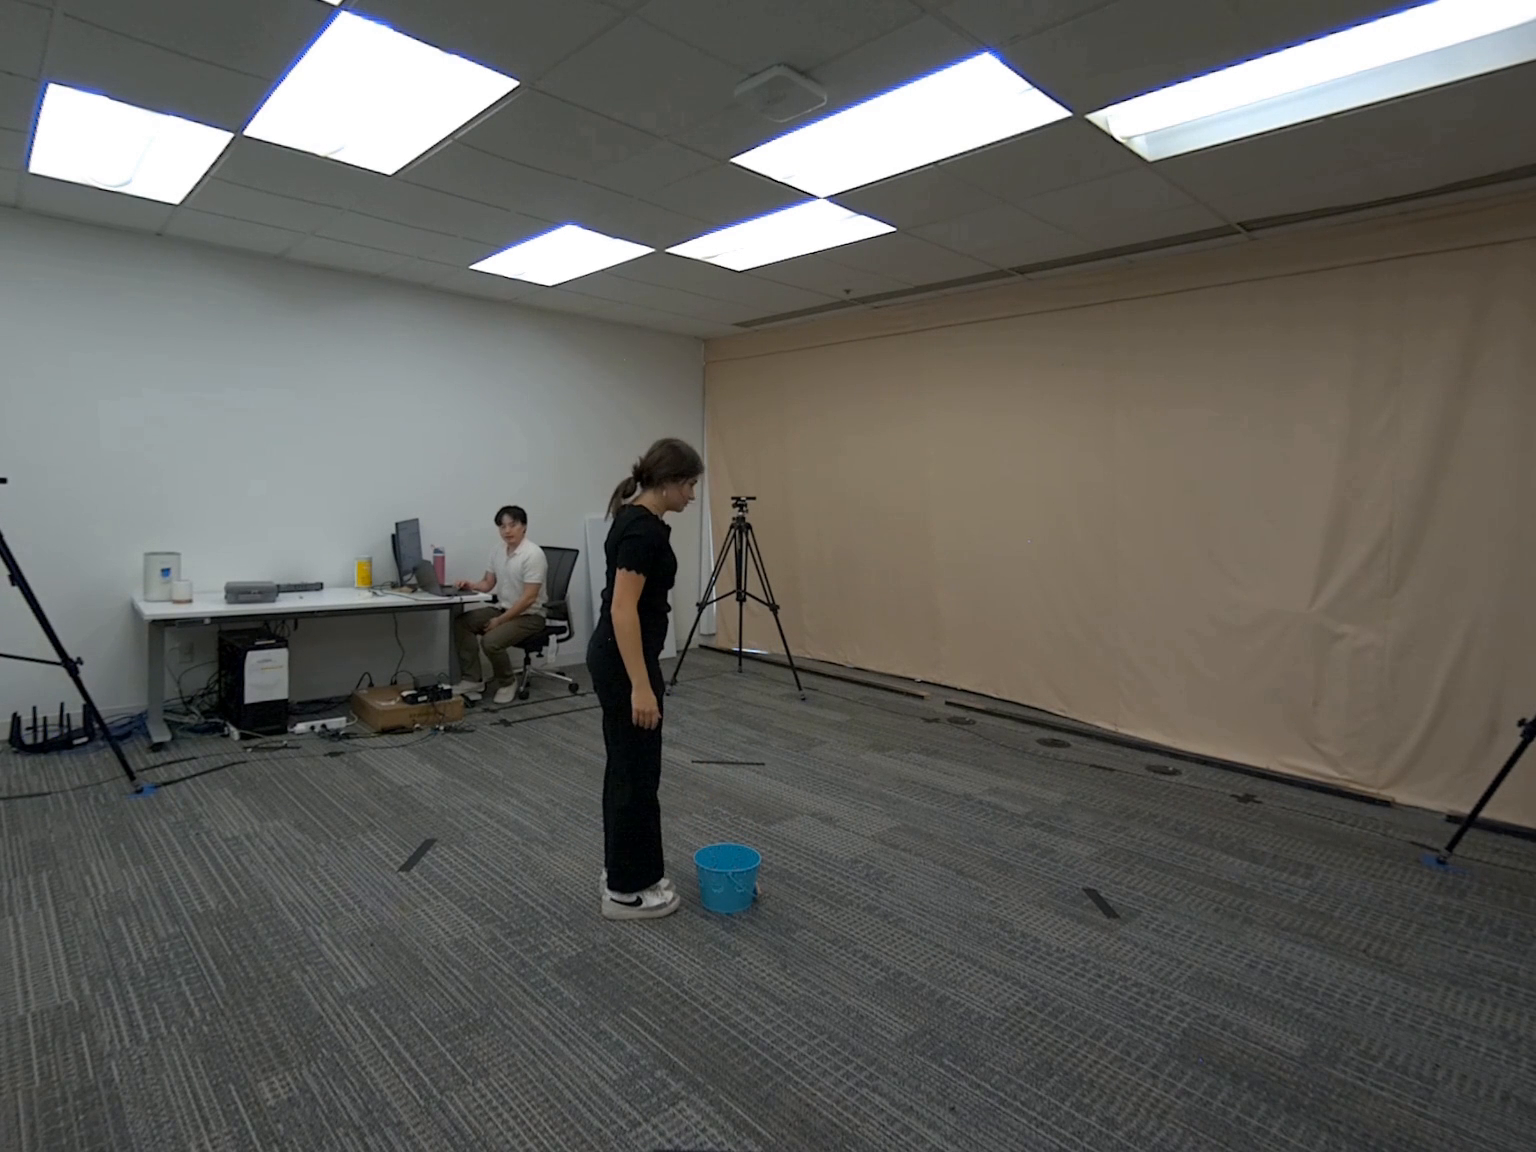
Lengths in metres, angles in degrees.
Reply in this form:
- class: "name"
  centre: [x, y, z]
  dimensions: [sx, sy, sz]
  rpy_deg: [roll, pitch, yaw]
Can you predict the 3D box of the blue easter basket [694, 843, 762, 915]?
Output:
- class: "blue easter basket"
  centre: [-0.146, 1.044, 2.902]
  dimensions: [0.243, 0.155, 0.244]
  rpy_deg: [1, 5, -1]
